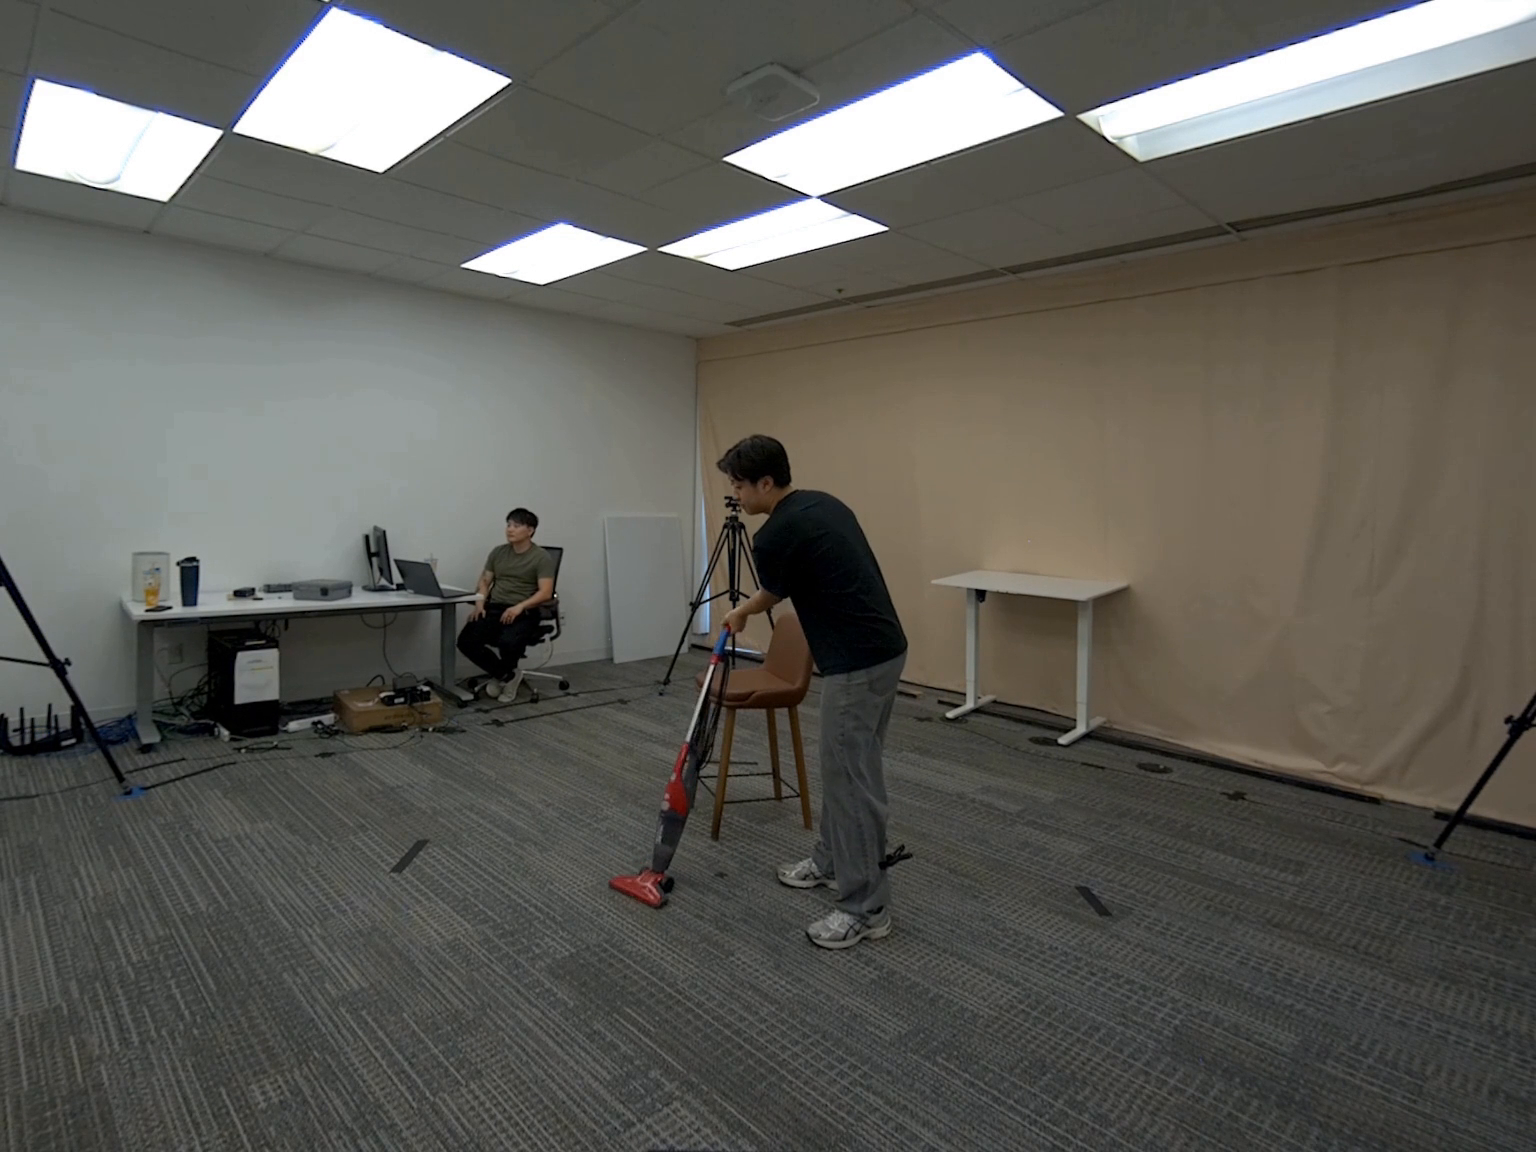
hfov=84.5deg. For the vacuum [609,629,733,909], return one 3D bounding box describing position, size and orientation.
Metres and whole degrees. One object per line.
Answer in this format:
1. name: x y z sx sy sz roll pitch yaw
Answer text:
1. vacuum: -0.280 0.626 3.102 0.259 1.057 0.139 4 -21 40
